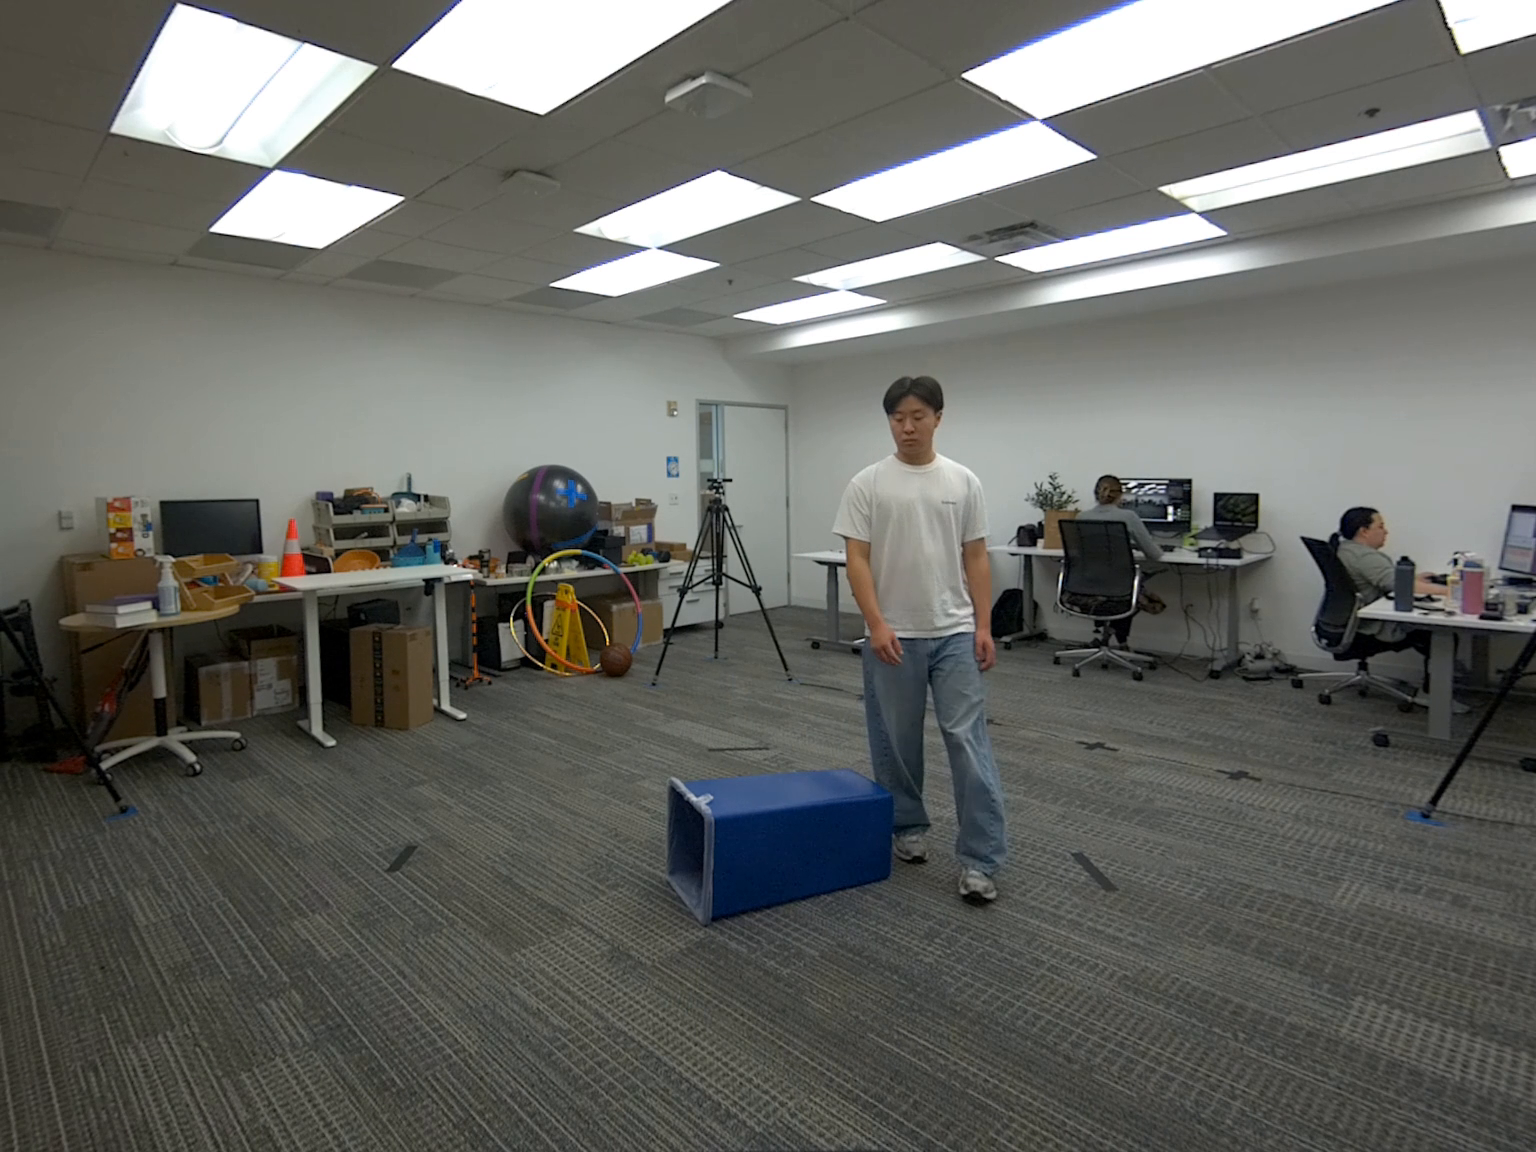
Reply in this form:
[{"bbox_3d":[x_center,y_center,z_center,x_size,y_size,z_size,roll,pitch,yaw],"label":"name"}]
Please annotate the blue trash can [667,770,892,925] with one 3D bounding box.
[{"bbox_3d":[0.042,0.896,2.952,0.698,0.377,0.383,-1,5,-24],"label":"blue trash can"}]
